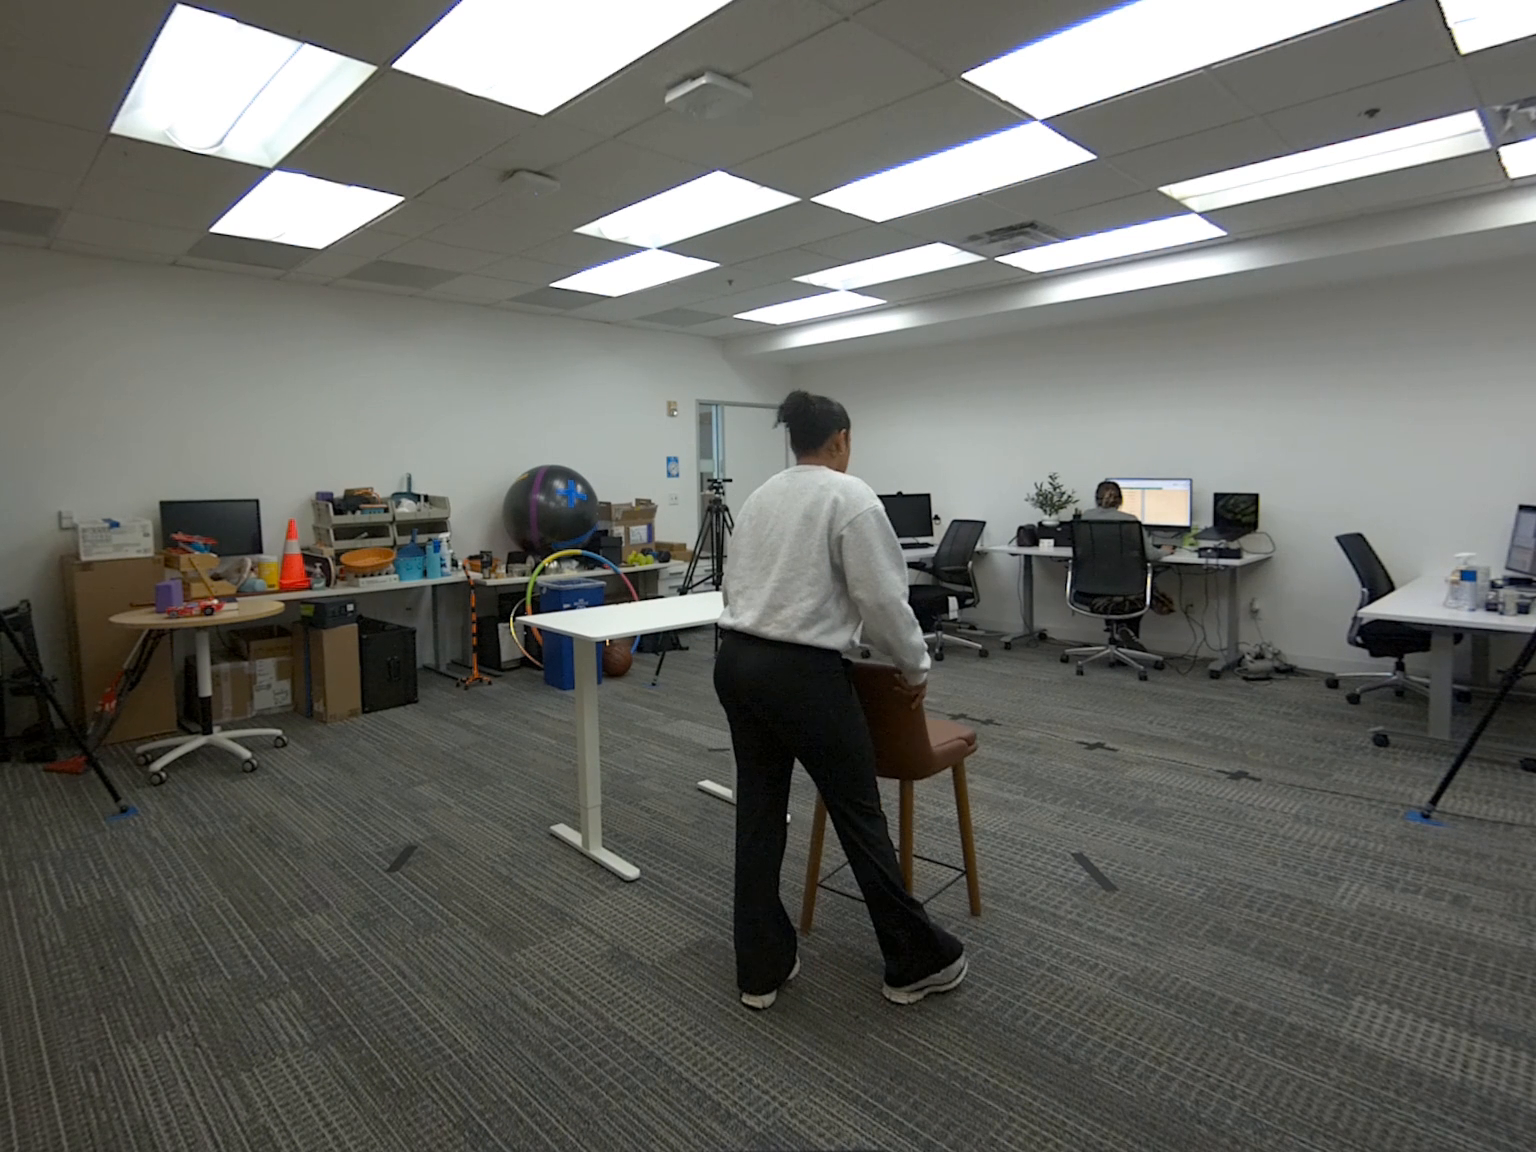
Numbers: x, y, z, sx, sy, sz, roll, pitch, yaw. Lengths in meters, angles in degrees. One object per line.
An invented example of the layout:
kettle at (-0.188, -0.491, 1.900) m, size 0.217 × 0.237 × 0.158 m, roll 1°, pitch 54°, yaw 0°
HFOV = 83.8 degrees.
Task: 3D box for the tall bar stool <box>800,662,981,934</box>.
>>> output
tall bar stool at (0.371, 0.651, 2.656) m, size 0.470 × 0.885 × 0.456 m, roll 2°, pitch 7°, yaw 40°
